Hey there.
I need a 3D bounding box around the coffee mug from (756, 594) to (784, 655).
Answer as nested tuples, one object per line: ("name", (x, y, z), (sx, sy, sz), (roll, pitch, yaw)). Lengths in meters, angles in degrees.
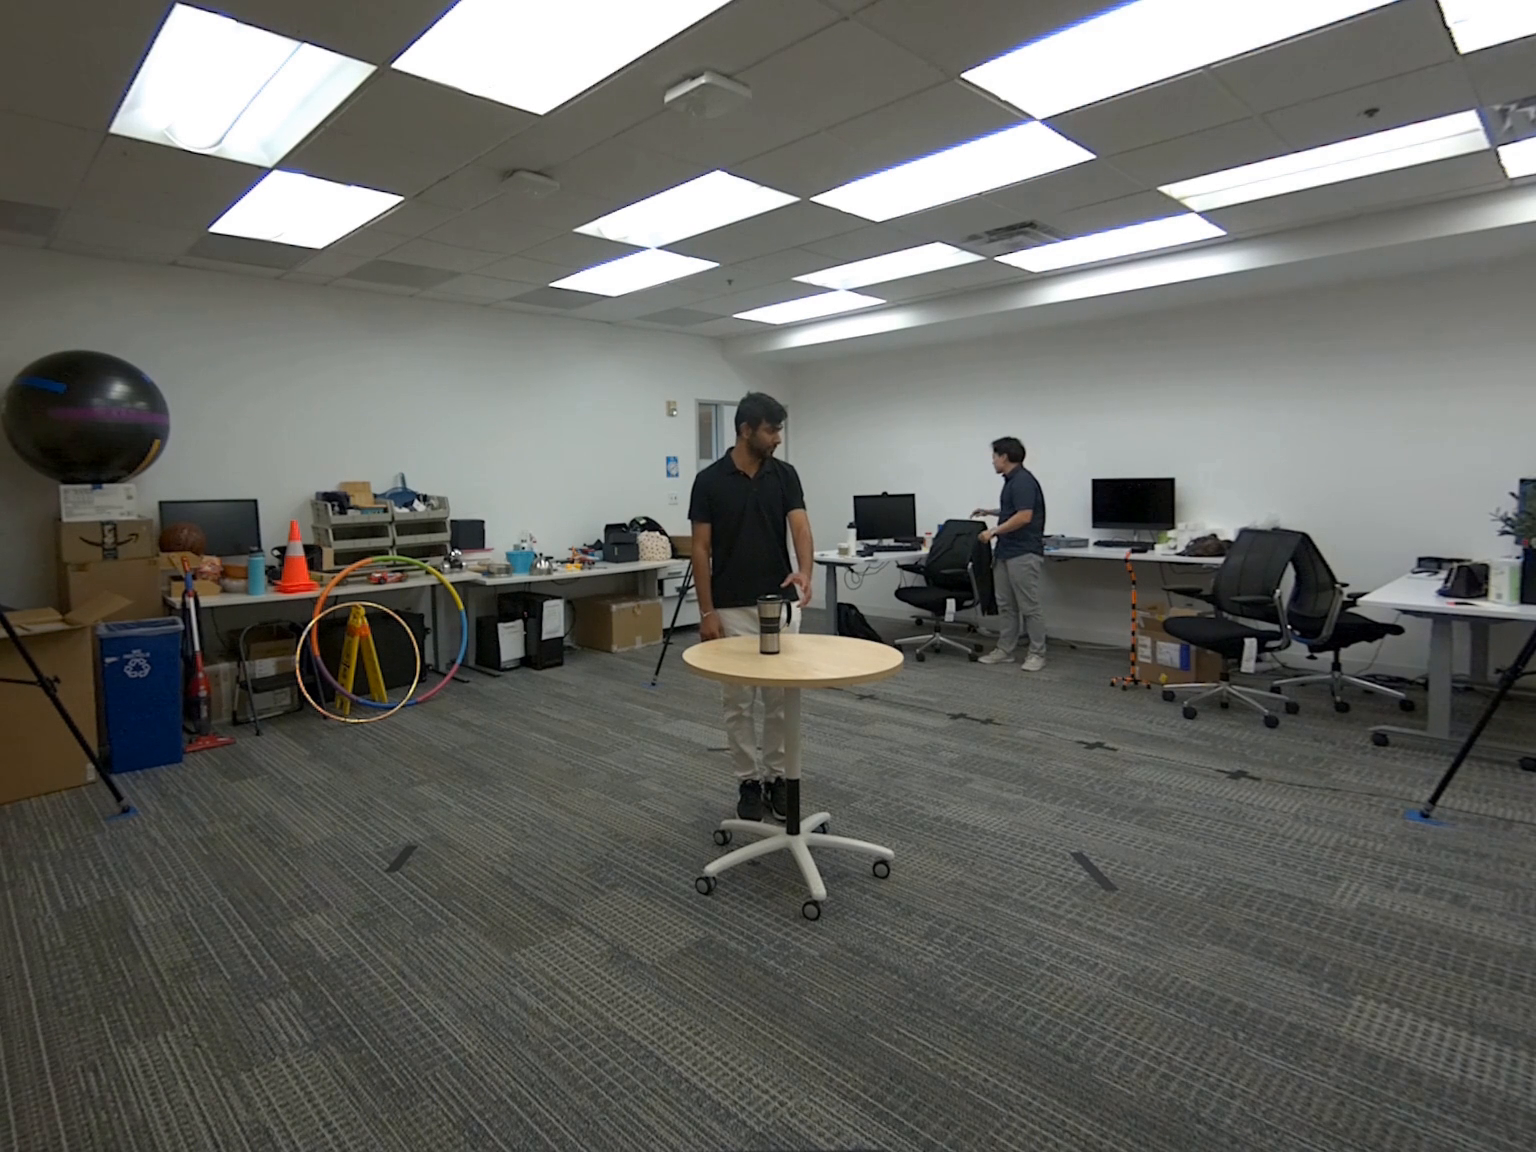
("coffee mug", (0.017, 0.176, 2.983), (0.086, 0.203, 0.124), (4, -3, -27))
